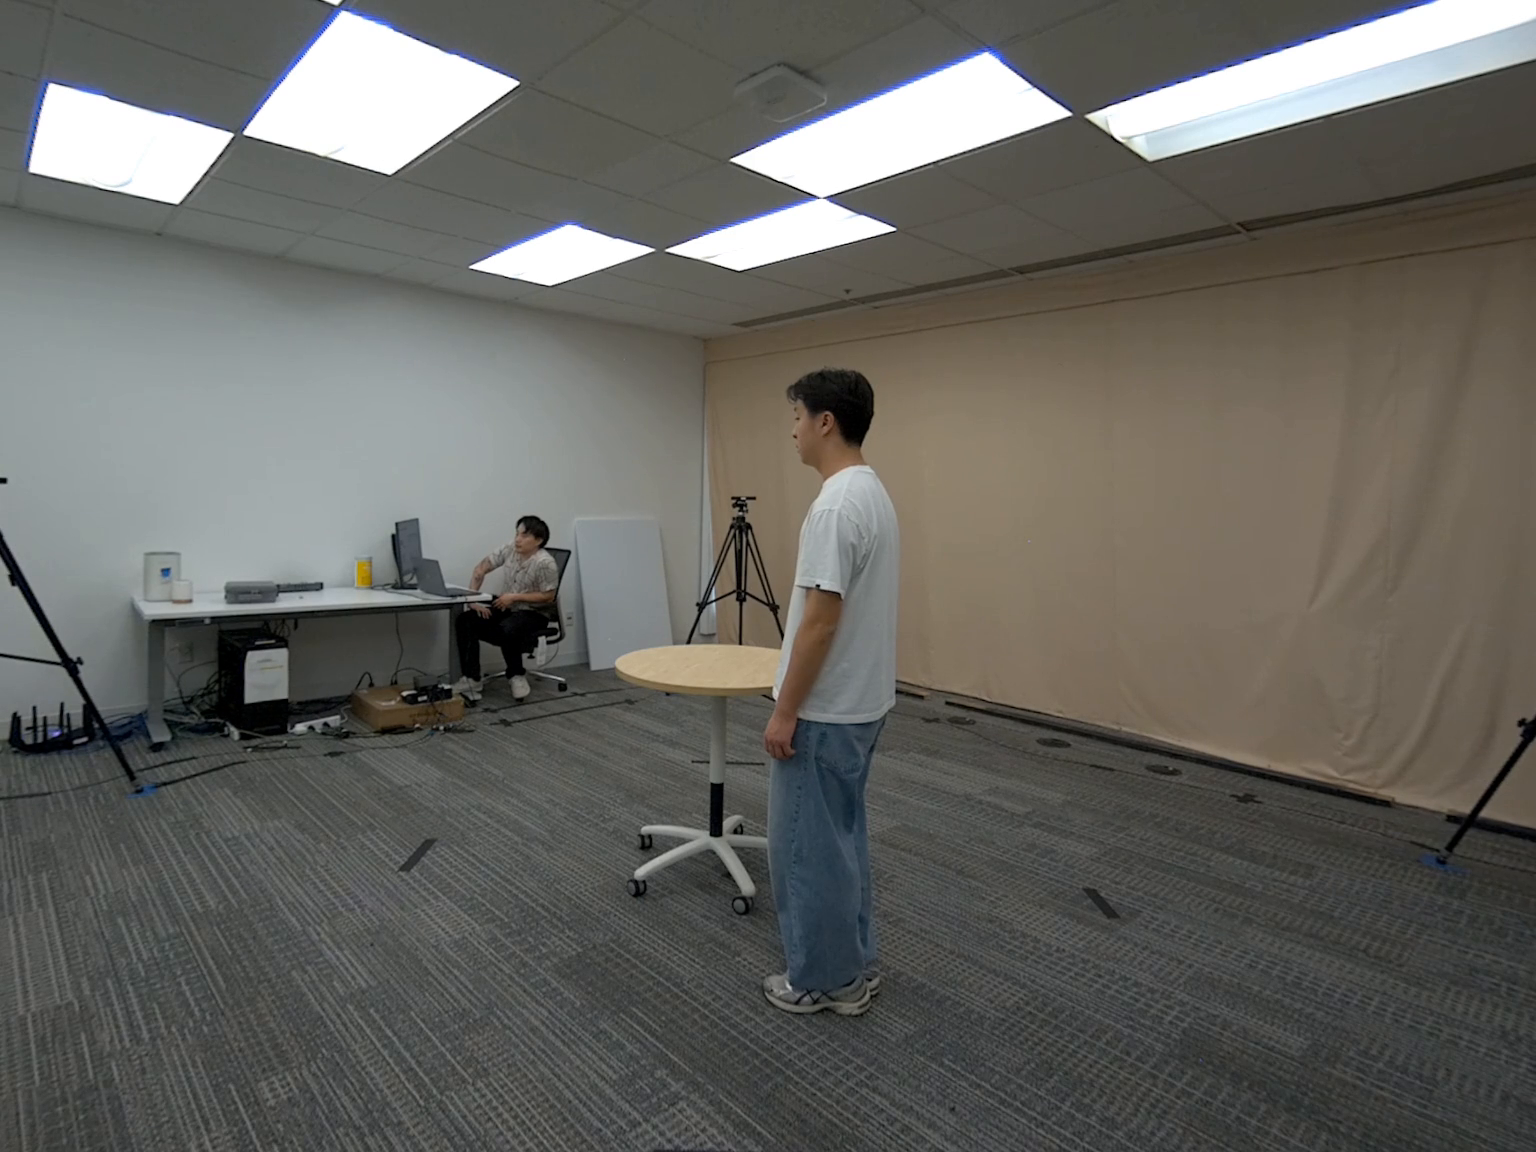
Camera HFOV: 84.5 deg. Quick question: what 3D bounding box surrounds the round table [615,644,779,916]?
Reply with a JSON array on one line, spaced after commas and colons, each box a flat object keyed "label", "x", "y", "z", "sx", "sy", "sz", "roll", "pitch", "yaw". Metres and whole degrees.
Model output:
[{"label": "round table", "x": -0.196, "y": 0.716, "z": 3.105, "sx": 0.763, "sy": 0.792, "sz": 0.767, "roll": 1, "pitch": 4, "yaw": -1}]
